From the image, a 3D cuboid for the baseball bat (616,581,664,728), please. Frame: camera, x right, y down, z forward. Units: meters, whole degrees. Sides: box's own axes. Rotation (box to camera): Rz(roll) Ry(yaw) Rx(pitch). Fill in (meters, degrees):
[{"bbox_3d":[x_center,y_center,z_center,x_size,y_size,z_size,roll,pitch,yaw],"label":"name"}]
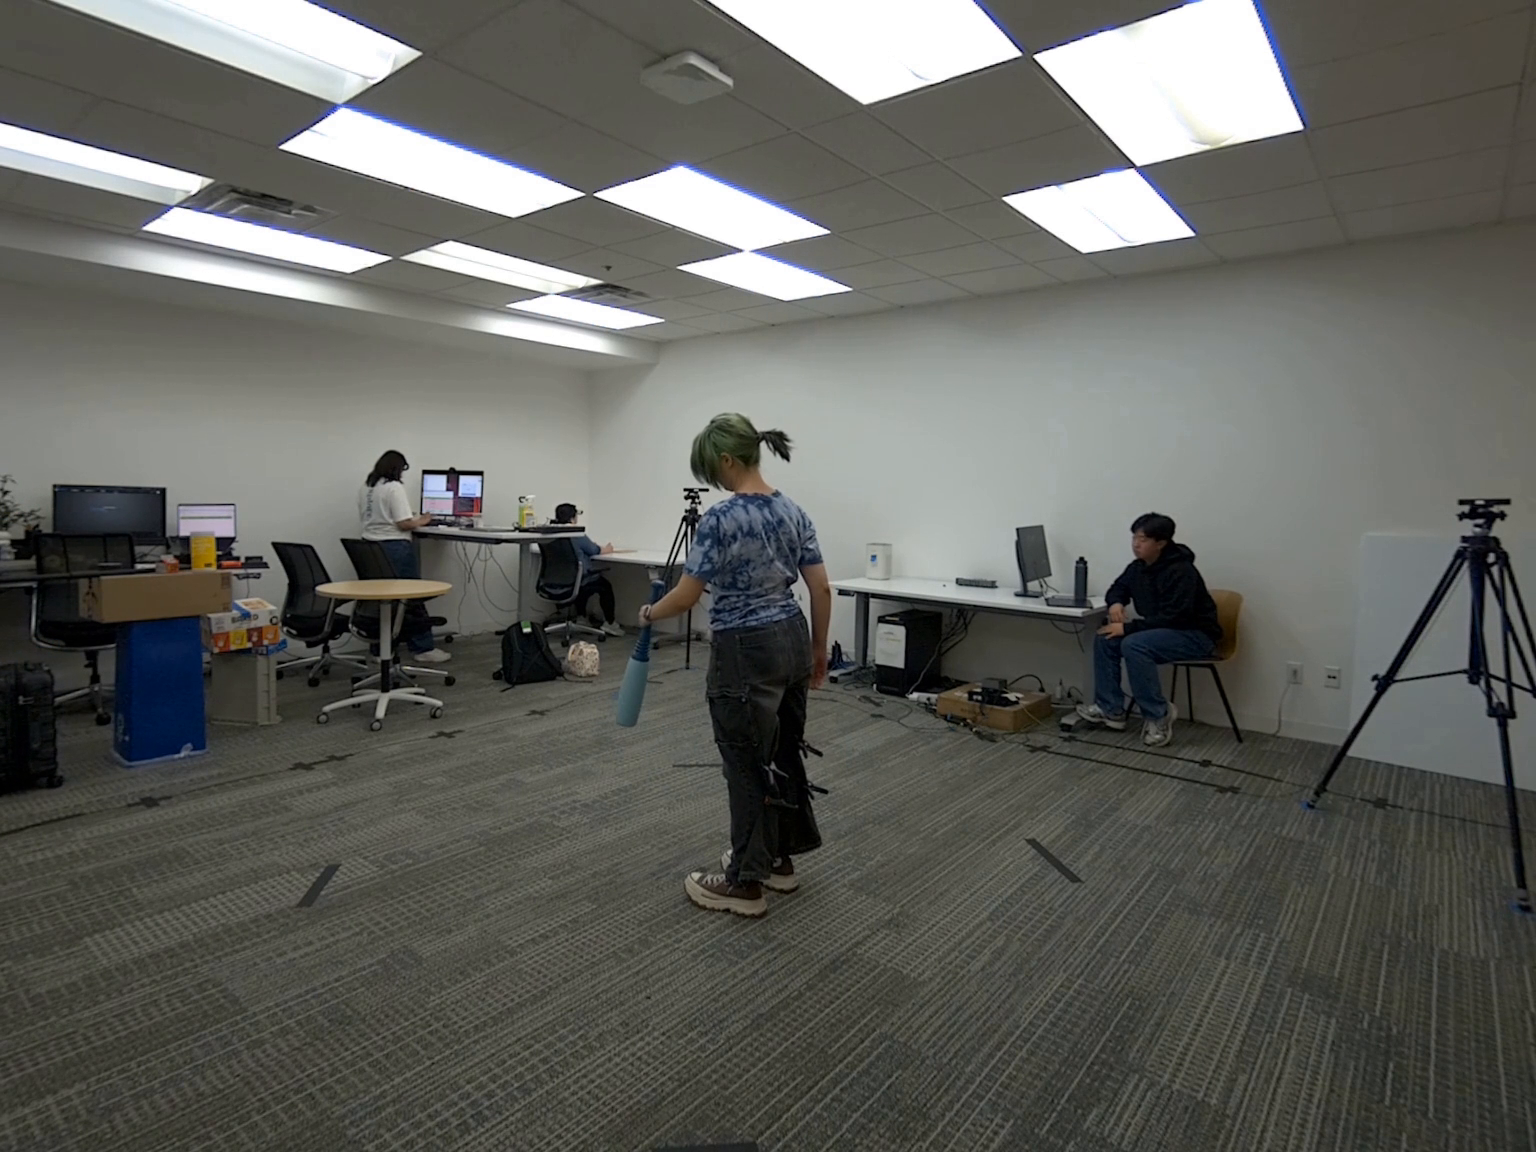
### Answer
[{"bbox_3d":[-0.470,0.280,3.040,0.089,0.540,0.090,14,7,-4],"label":"baseball bat"}]
